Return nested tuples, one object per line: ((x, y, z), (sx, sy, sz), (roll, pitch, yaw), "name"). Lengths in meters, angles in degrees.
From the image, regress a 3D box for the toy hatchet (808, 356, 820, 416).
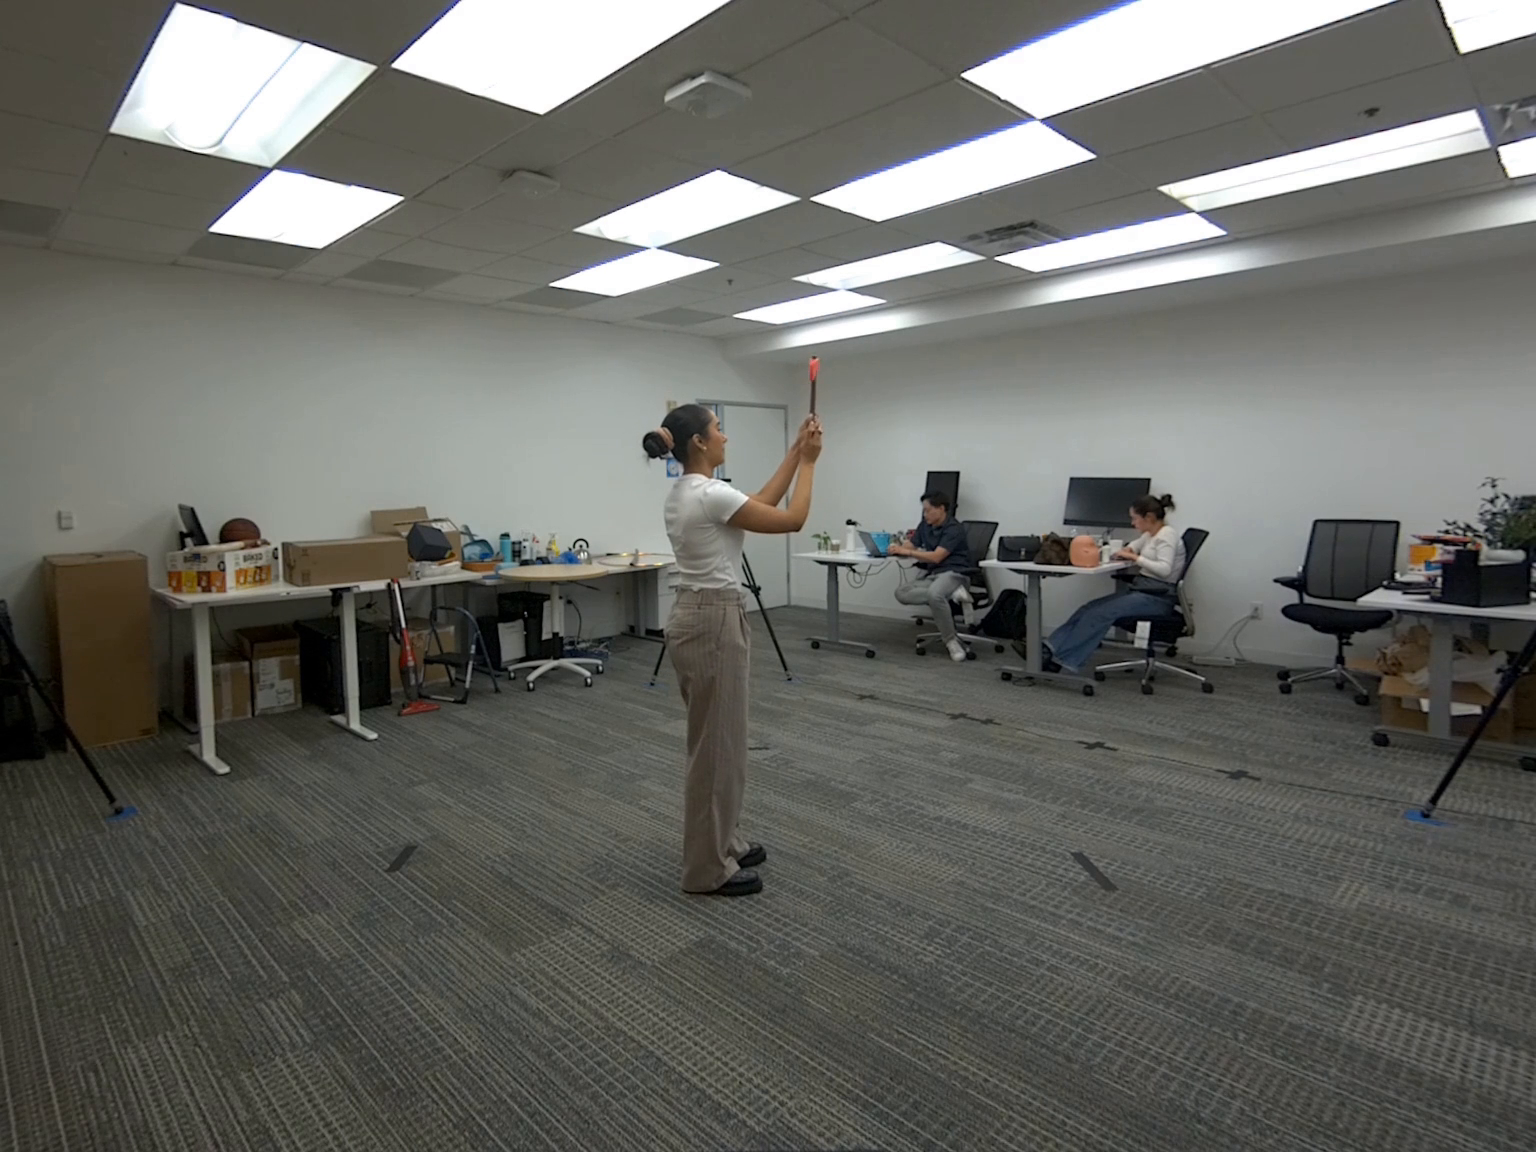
((0.153, -0.622, 2.915), (0.030, 0.271, 0.129), (1, -3, 9), "toy hatchet")
